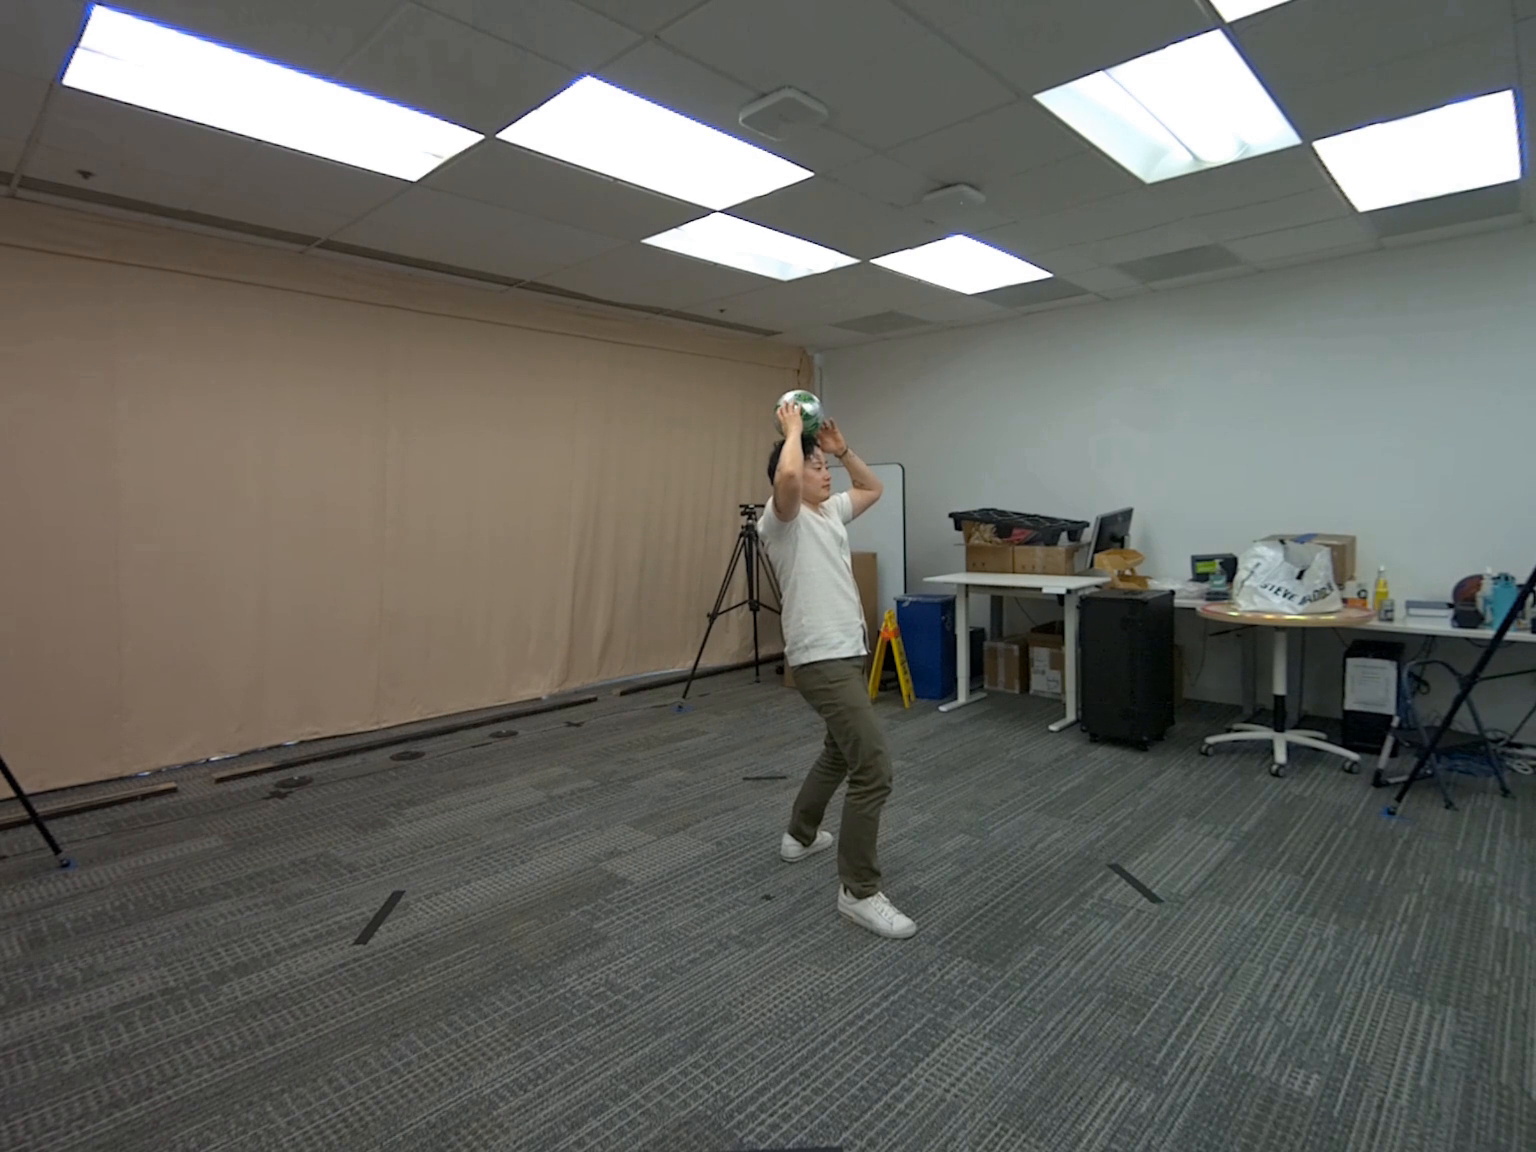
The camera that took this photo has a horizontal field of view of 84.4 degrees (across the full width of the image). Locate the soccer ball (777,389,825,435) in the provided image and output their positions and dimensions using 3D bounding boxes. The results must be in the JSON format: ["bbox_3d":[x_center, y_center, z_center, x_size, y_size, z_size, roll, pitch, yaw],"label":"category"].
[{"bbox_3d":[0.112,-0.587,3.094,0.187,0.187,0.188,-1,4,-2],"label":"soccer ball"}]
